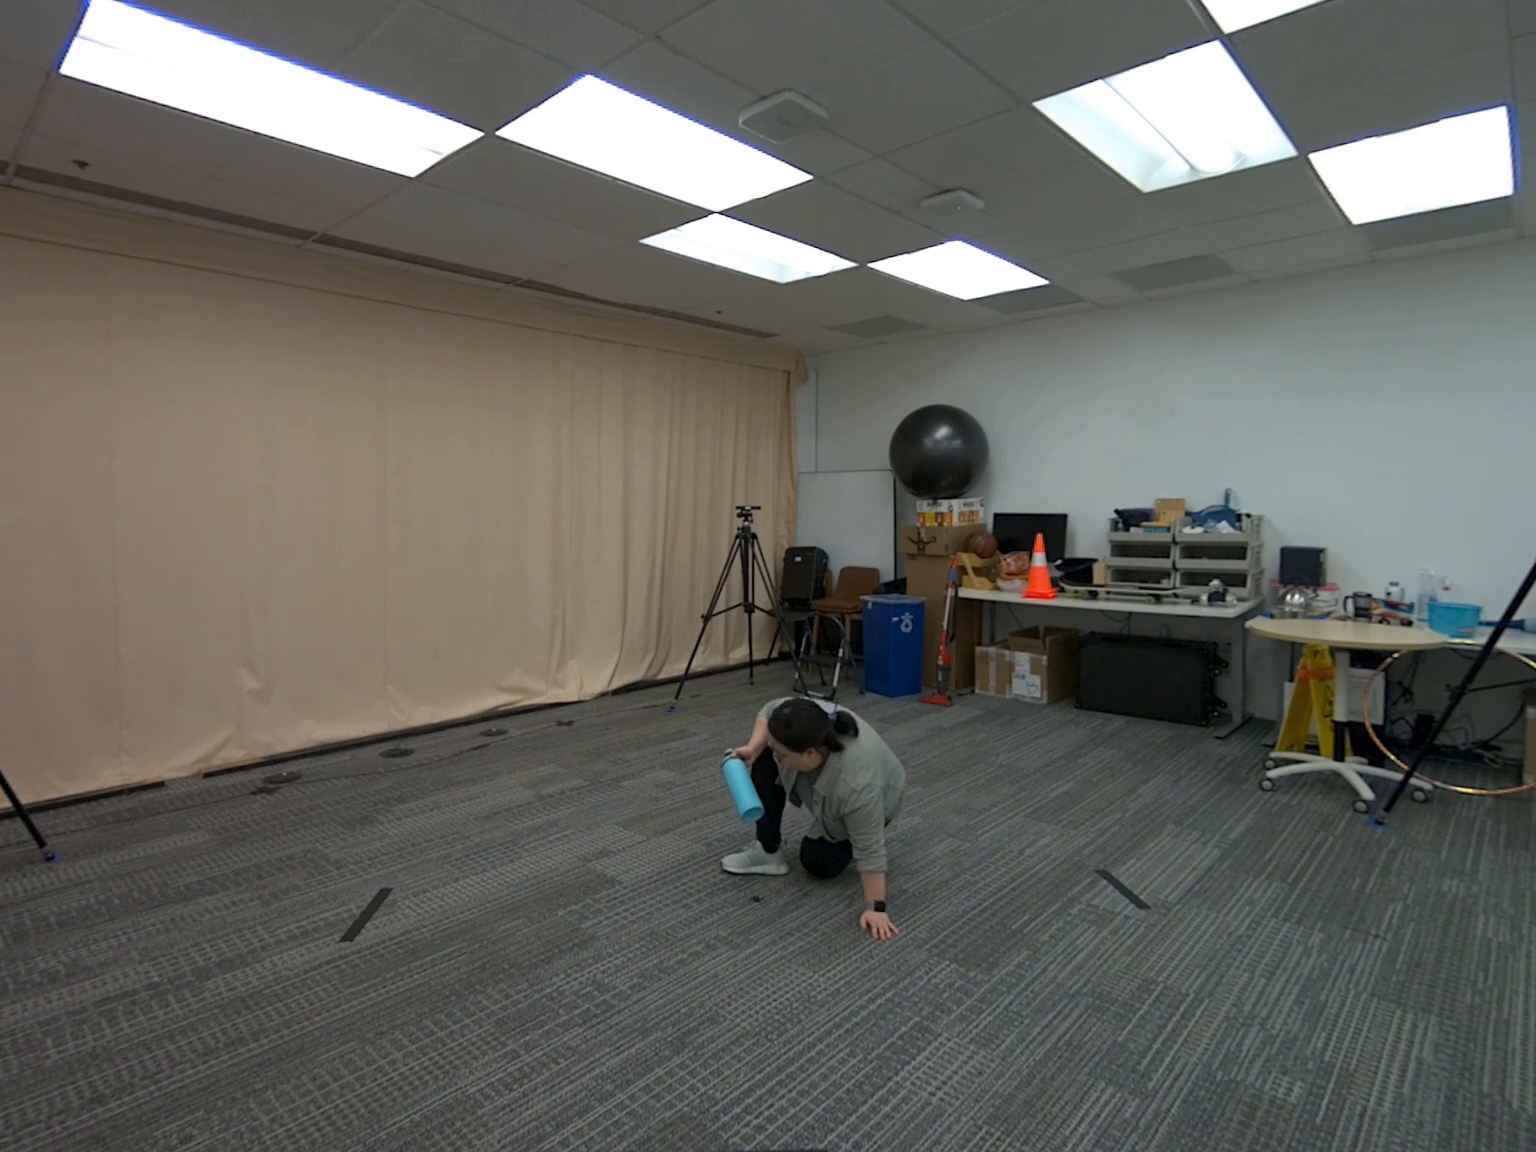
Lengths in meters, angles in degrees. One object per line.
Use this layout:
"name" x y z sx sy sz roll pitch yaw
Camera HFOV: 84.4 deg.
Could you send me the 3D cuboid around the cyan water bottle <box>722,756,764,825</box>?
"cyan water bottle" -0.094 0.771 3.060 0.091 0.091 0.291 -2 33 -14
